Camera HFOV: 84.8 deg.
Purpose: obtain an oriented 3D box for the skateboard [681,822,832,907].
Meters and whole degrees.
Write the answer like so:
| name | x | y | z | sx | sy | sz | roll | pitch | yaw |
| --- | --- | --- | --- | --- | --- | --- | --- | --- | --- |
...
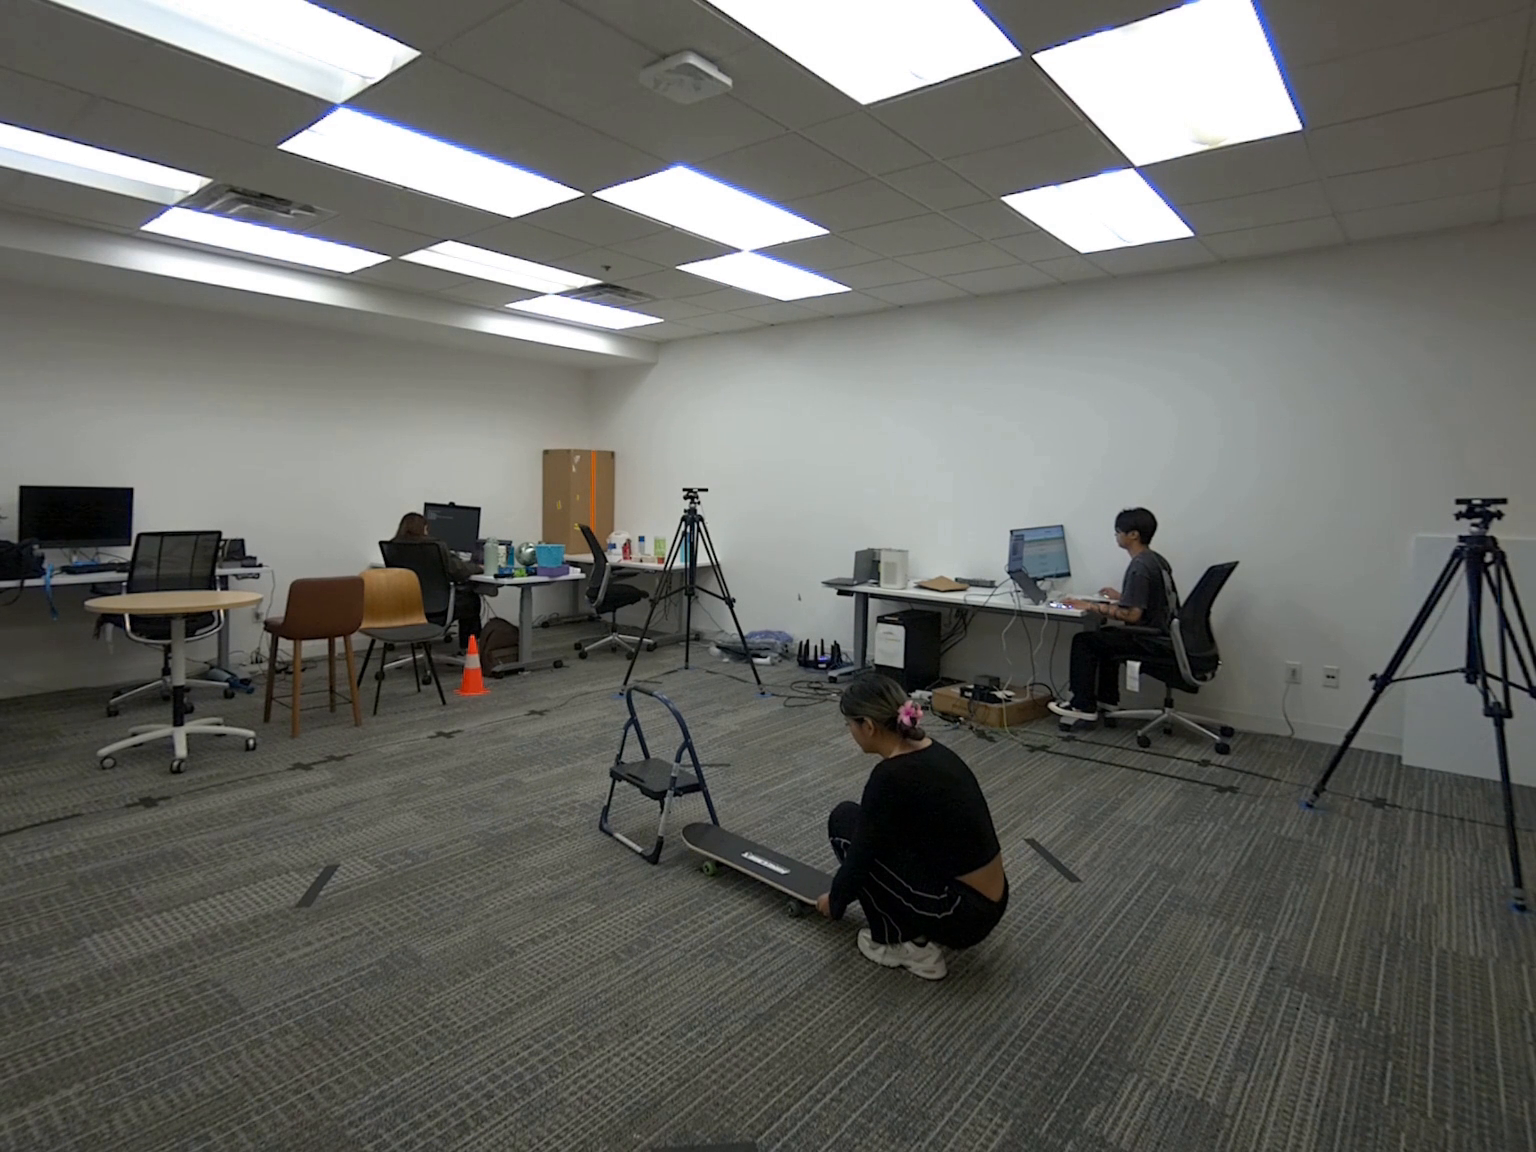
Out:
| name | x | y | z | sx | sy | sz | roll | pitch | yaw |
| --- | --- | --- | --- | --- | --- | --- | --- | --- | --- |
| skateboard | -0.022 | 1.030 | 2.973 | 0.813 | 0.110 | 0.188 | 7 | 8 | 44 |
